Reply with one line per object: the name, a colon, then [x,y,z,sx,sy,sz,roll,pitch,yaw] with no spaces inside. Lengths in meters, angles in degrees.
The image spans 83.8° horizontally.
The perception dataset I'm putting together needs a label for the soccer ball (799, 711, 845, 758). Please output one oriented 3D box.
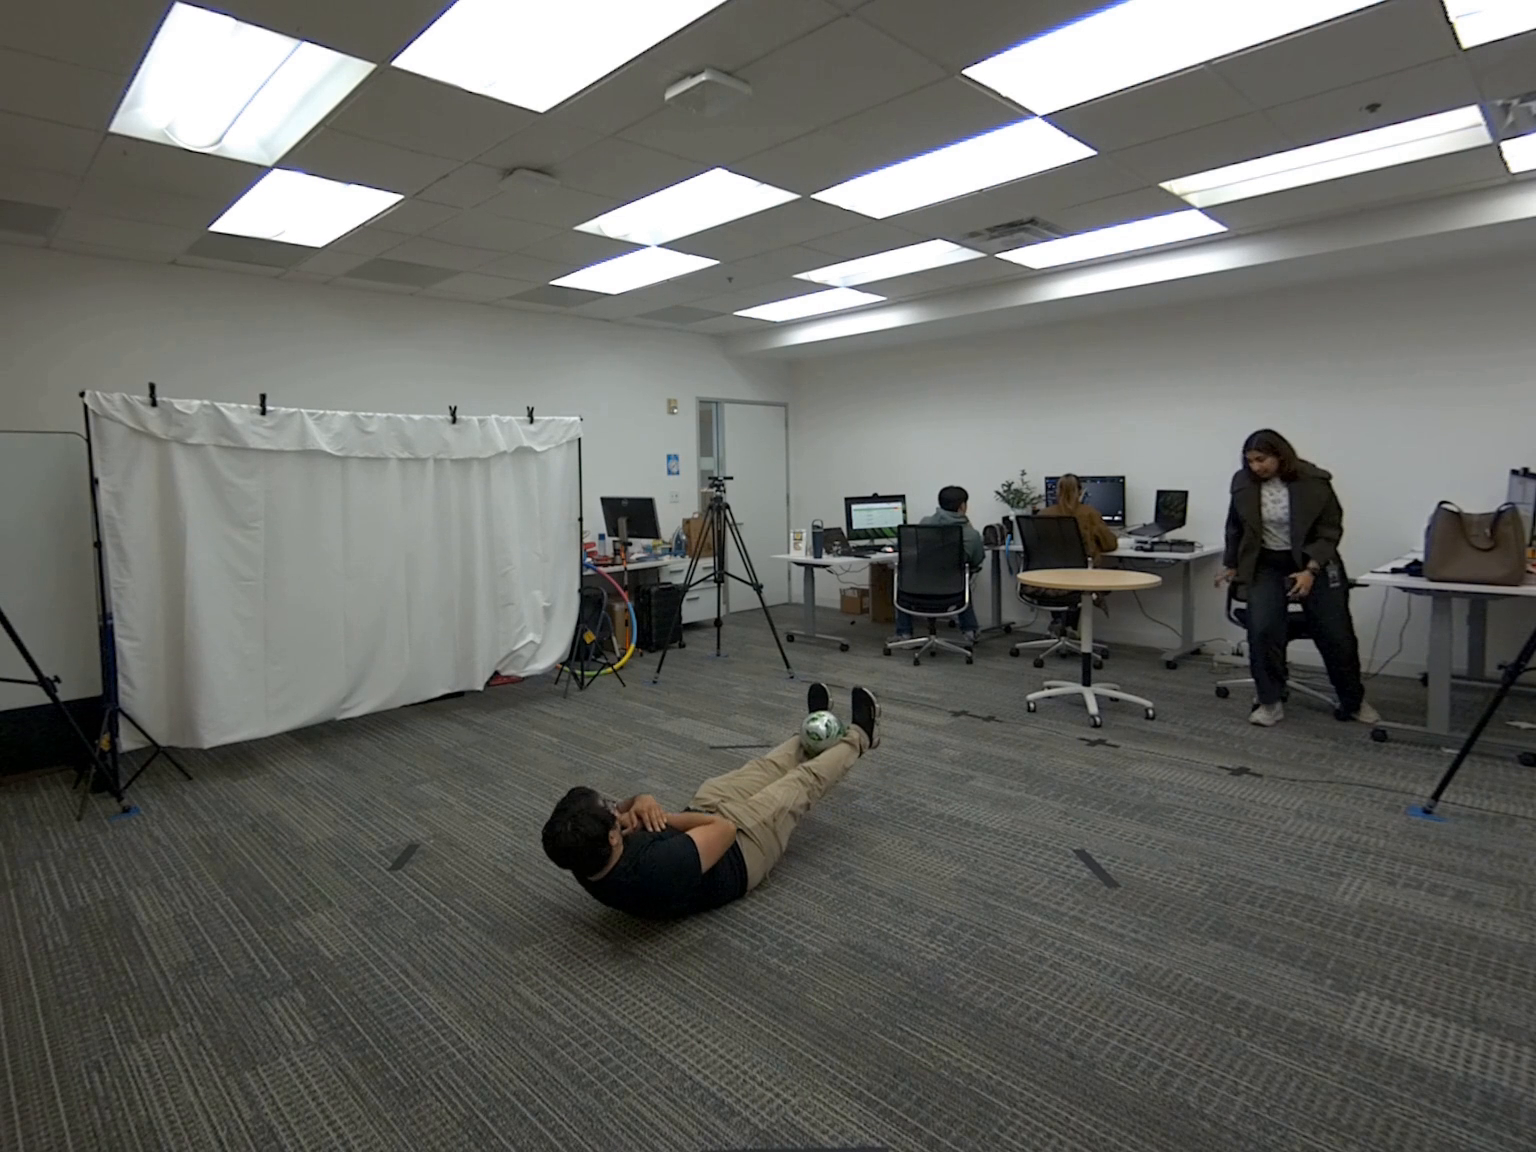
soccer ball: [0.224,0.642,3.453,0.187,0.187,0.188,-1,4,-2]
